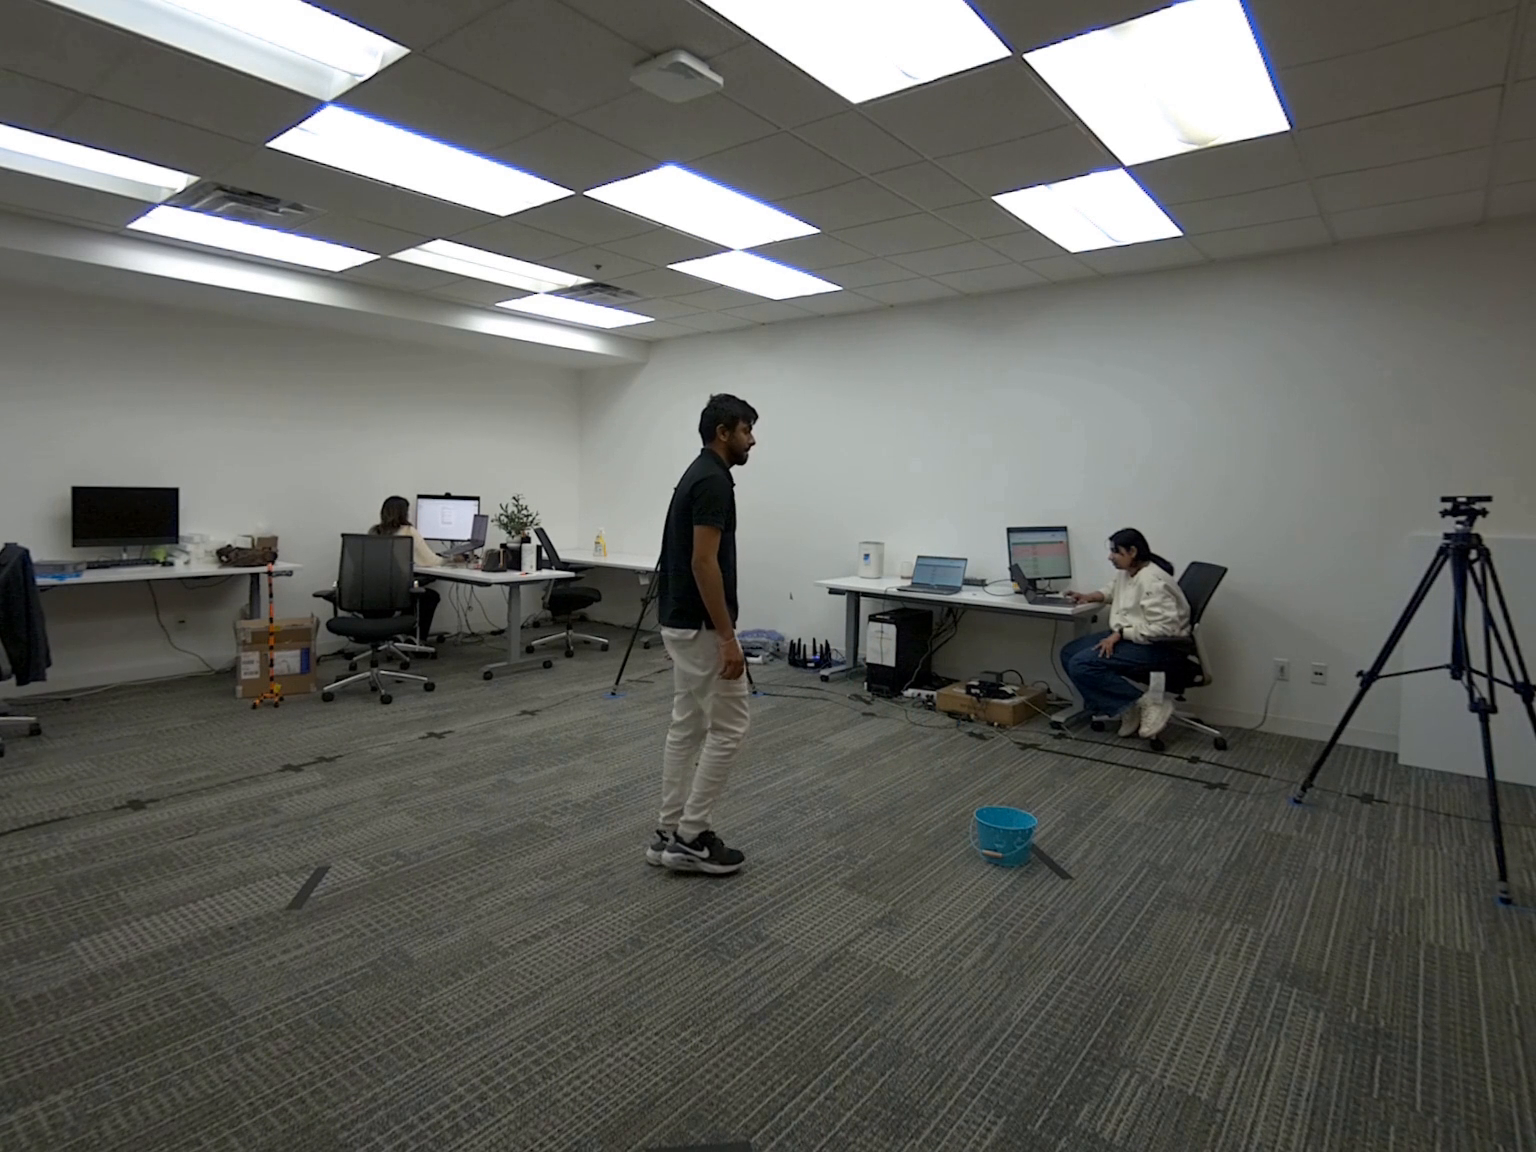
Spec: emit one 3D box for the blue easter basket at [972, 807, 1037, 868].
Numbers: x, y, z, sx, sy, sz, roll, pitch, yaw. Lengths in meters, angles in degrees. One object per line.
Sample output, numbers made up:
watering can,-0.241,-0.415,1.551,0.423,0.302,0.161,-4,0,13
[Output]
blue easter basket,0.897,0.997,3.273,0.243,0.155,0.245,1,4,-2
